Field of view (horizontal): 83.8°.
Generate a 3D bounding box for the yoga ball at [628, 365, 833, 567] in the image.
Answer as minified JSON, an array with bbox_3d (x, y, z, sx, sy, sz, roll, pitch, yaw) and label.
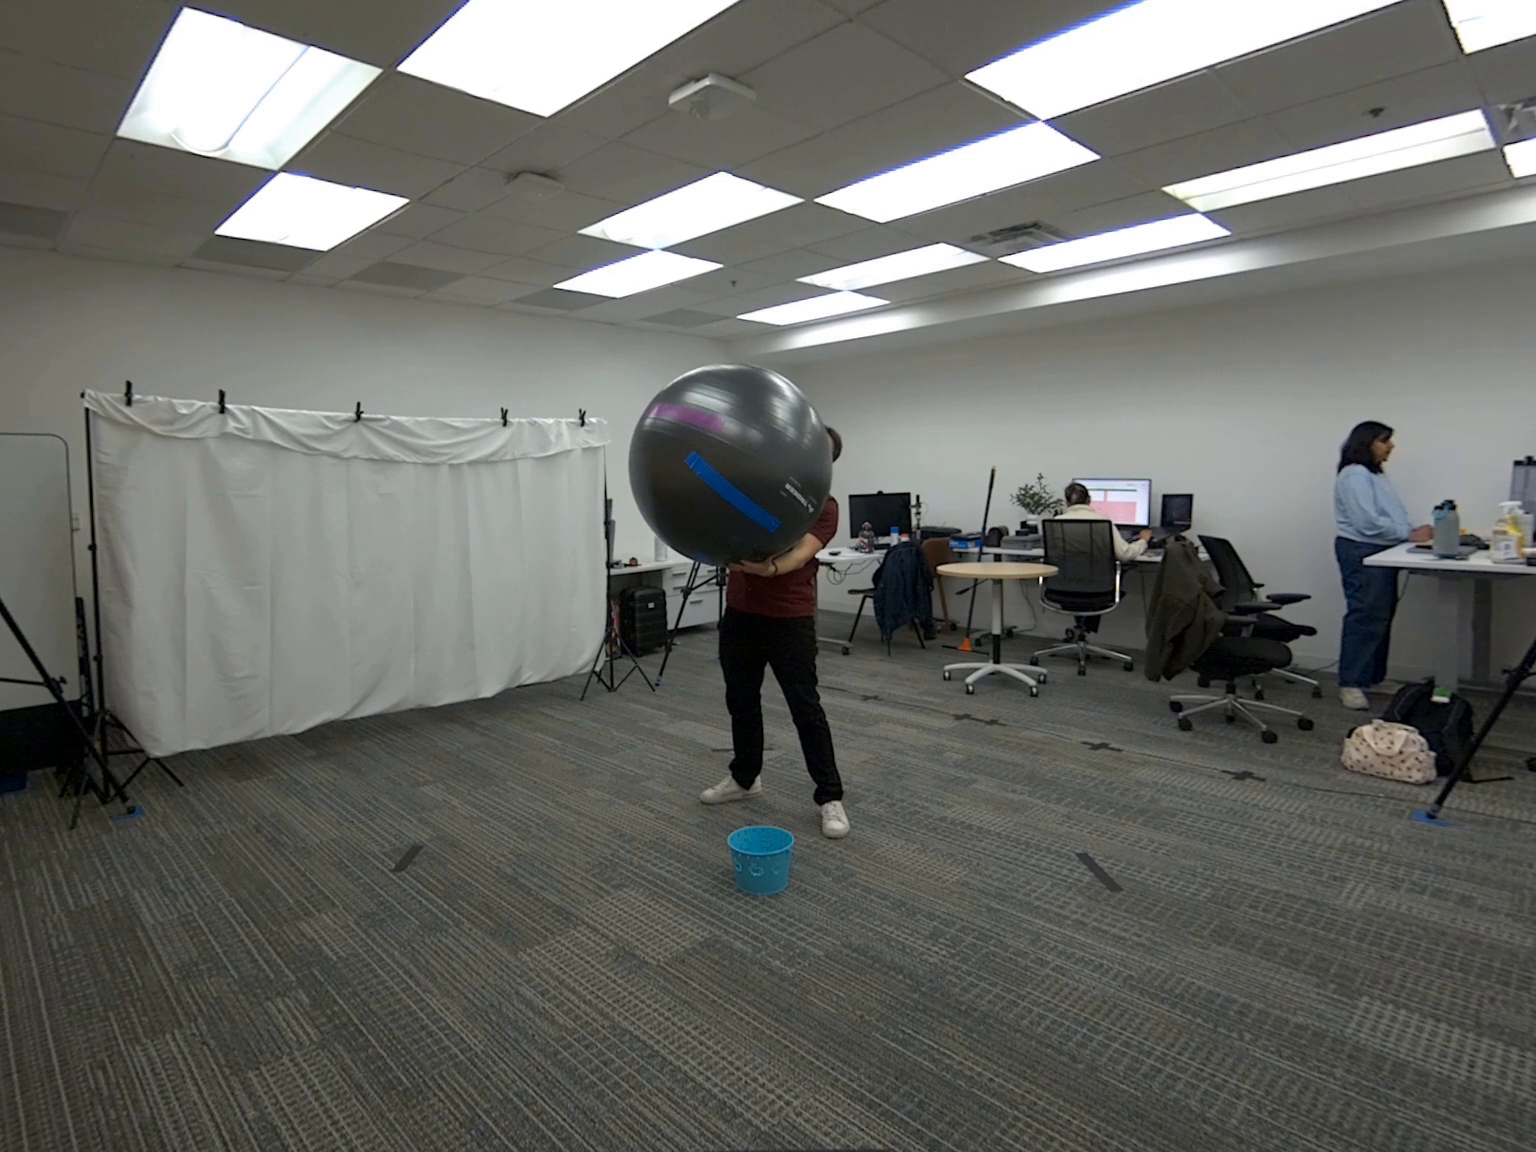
[{"bbox_3d":[-0.143,-0.410,3.202,0.757,0.755,0.762,-1,5,-2],"label":"yoga ball"}]
